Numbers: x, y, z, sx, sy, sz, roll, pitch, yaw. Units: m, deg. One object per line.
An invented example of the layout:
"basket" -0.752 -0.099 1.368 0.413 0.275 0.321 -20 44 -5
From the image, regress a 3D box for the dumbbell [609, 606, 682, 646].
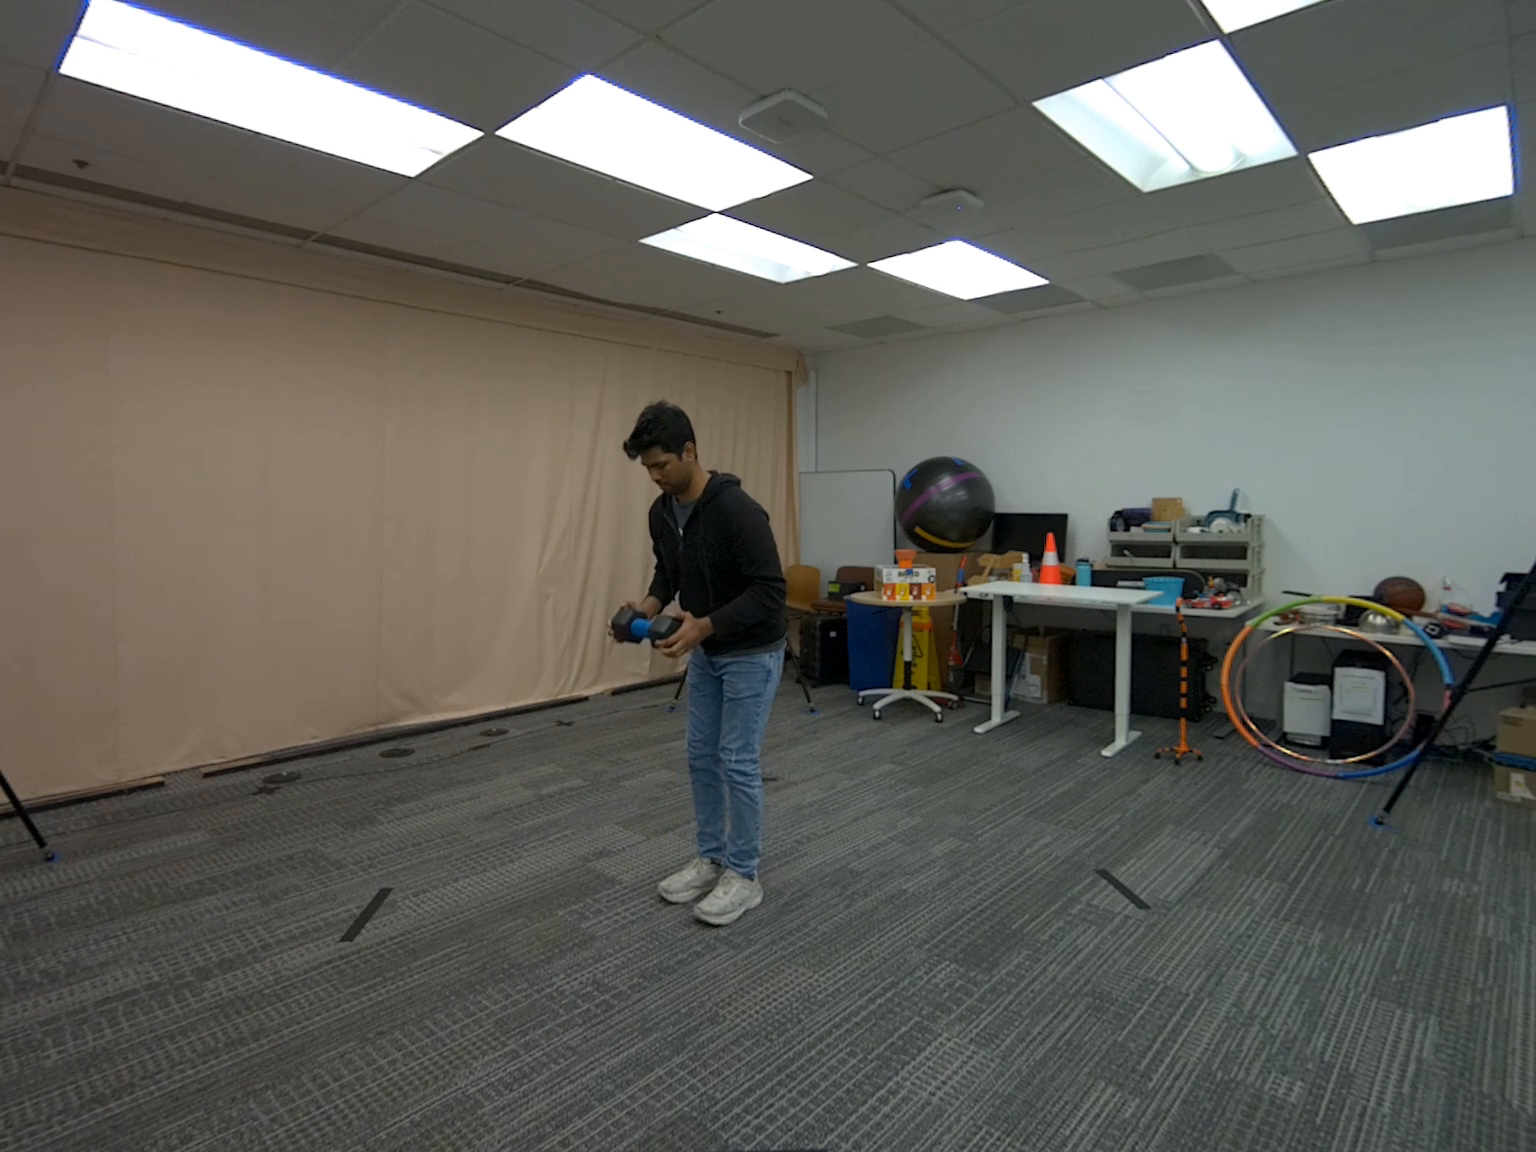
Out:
"dumbbell" -0.377 0.183 2.703 0.119 0.109 0.303 11 -4 -40
